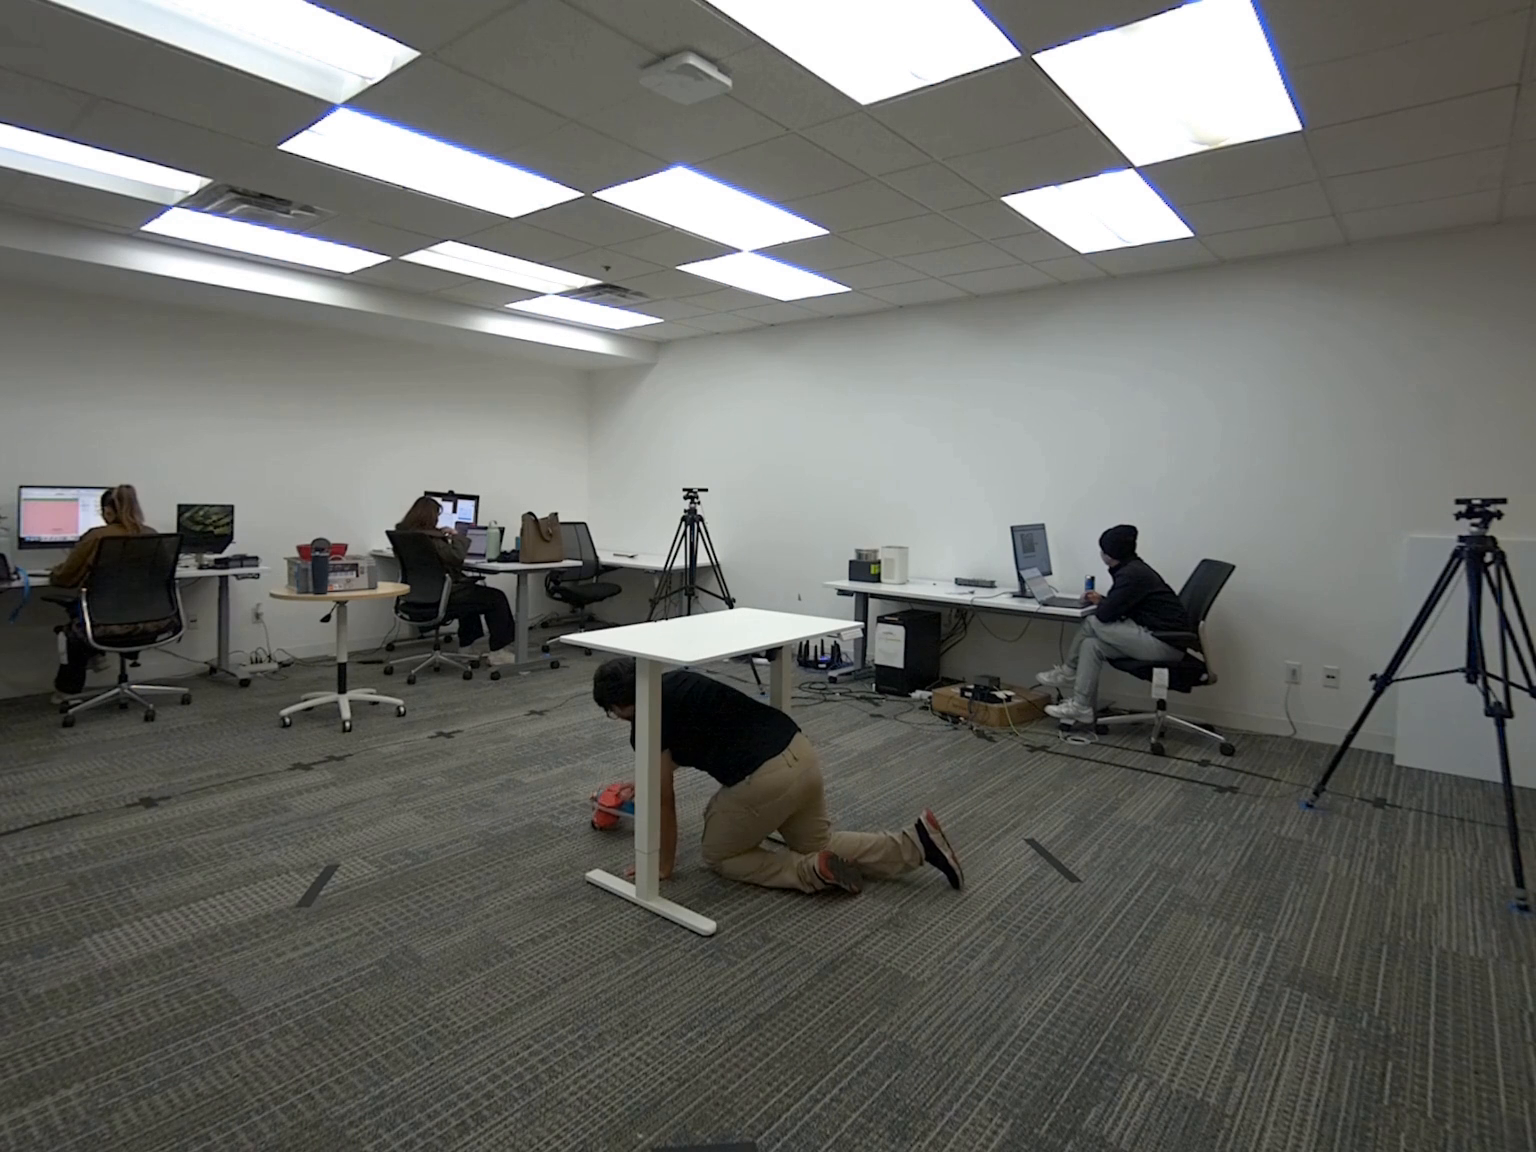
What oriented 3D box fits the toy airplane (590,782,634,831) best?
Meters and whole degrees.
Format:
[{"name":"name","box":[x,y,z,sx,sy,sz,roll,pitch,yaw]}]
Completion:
[{"name":"toy airplane","box":[-0.611,0.953,3.494,0.255,0.156,0.256,0,4,-17]}]
